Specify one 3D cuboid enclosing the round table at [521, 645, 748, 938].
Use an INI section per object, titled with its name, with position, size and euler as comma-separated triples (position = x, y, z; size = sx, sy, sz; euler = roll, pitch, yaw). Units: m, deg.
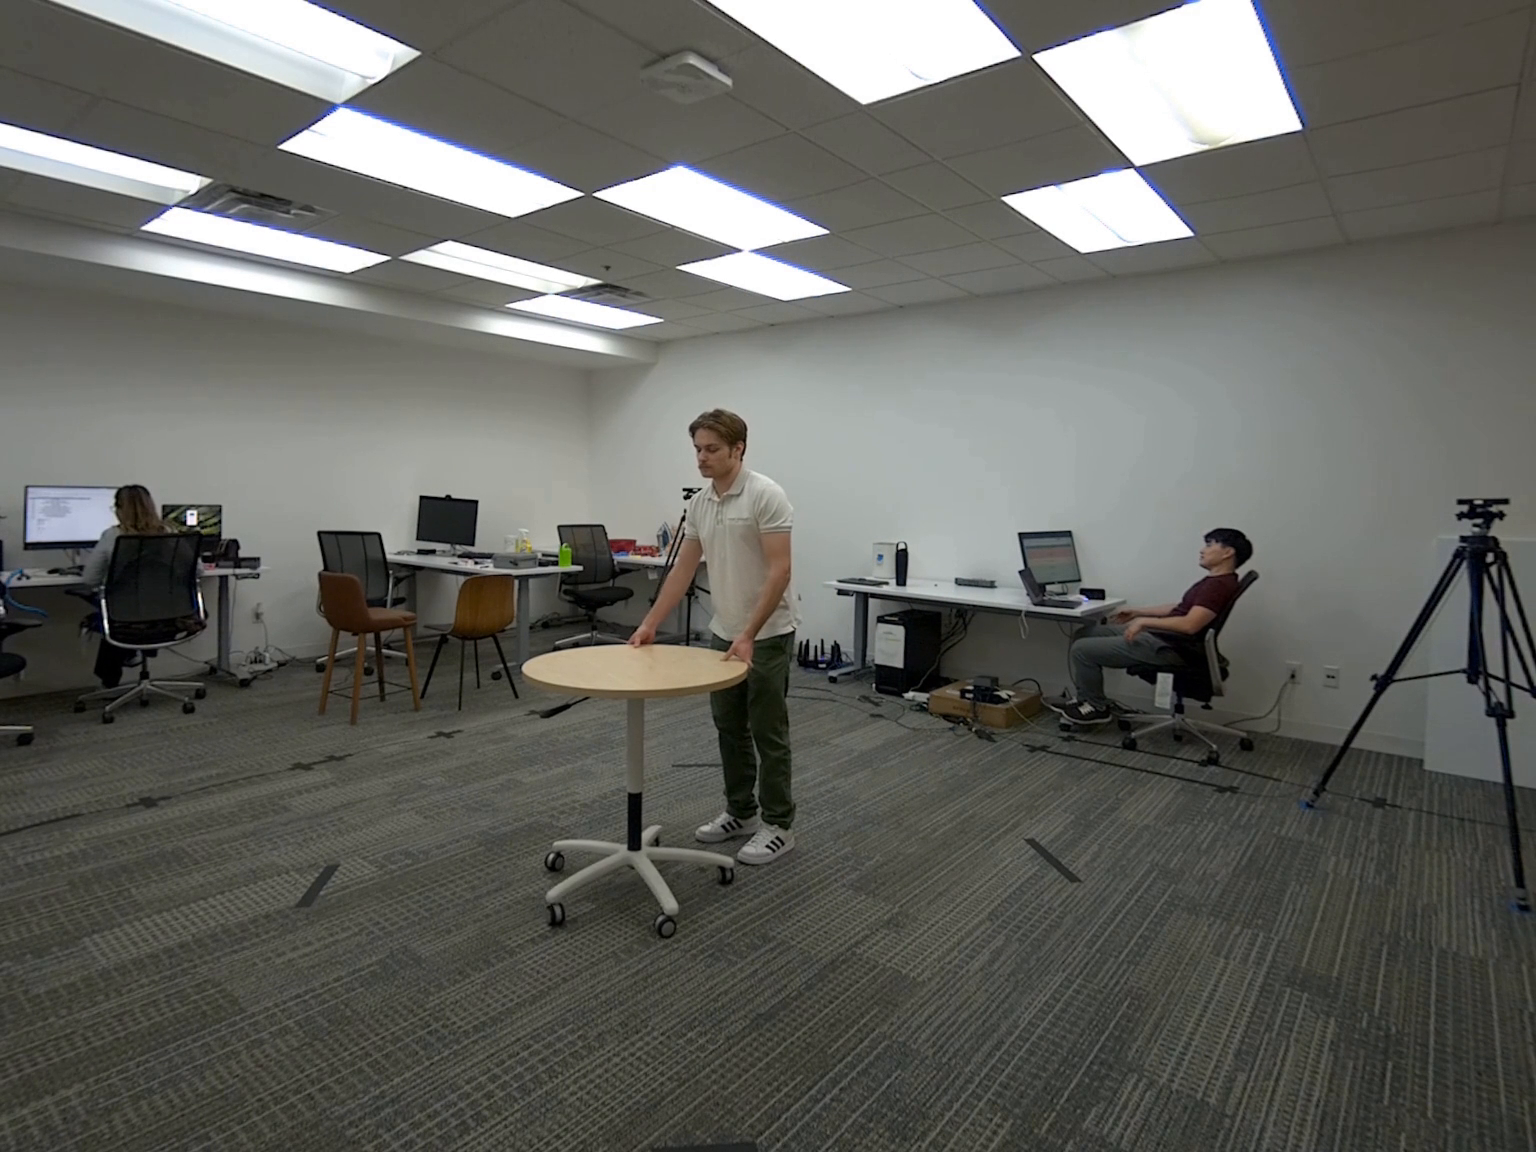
[round table]
position = -0.467, 0.694, 2.929
size = 0.763, 0.791, 0.768
euler = 0, 4, -2
